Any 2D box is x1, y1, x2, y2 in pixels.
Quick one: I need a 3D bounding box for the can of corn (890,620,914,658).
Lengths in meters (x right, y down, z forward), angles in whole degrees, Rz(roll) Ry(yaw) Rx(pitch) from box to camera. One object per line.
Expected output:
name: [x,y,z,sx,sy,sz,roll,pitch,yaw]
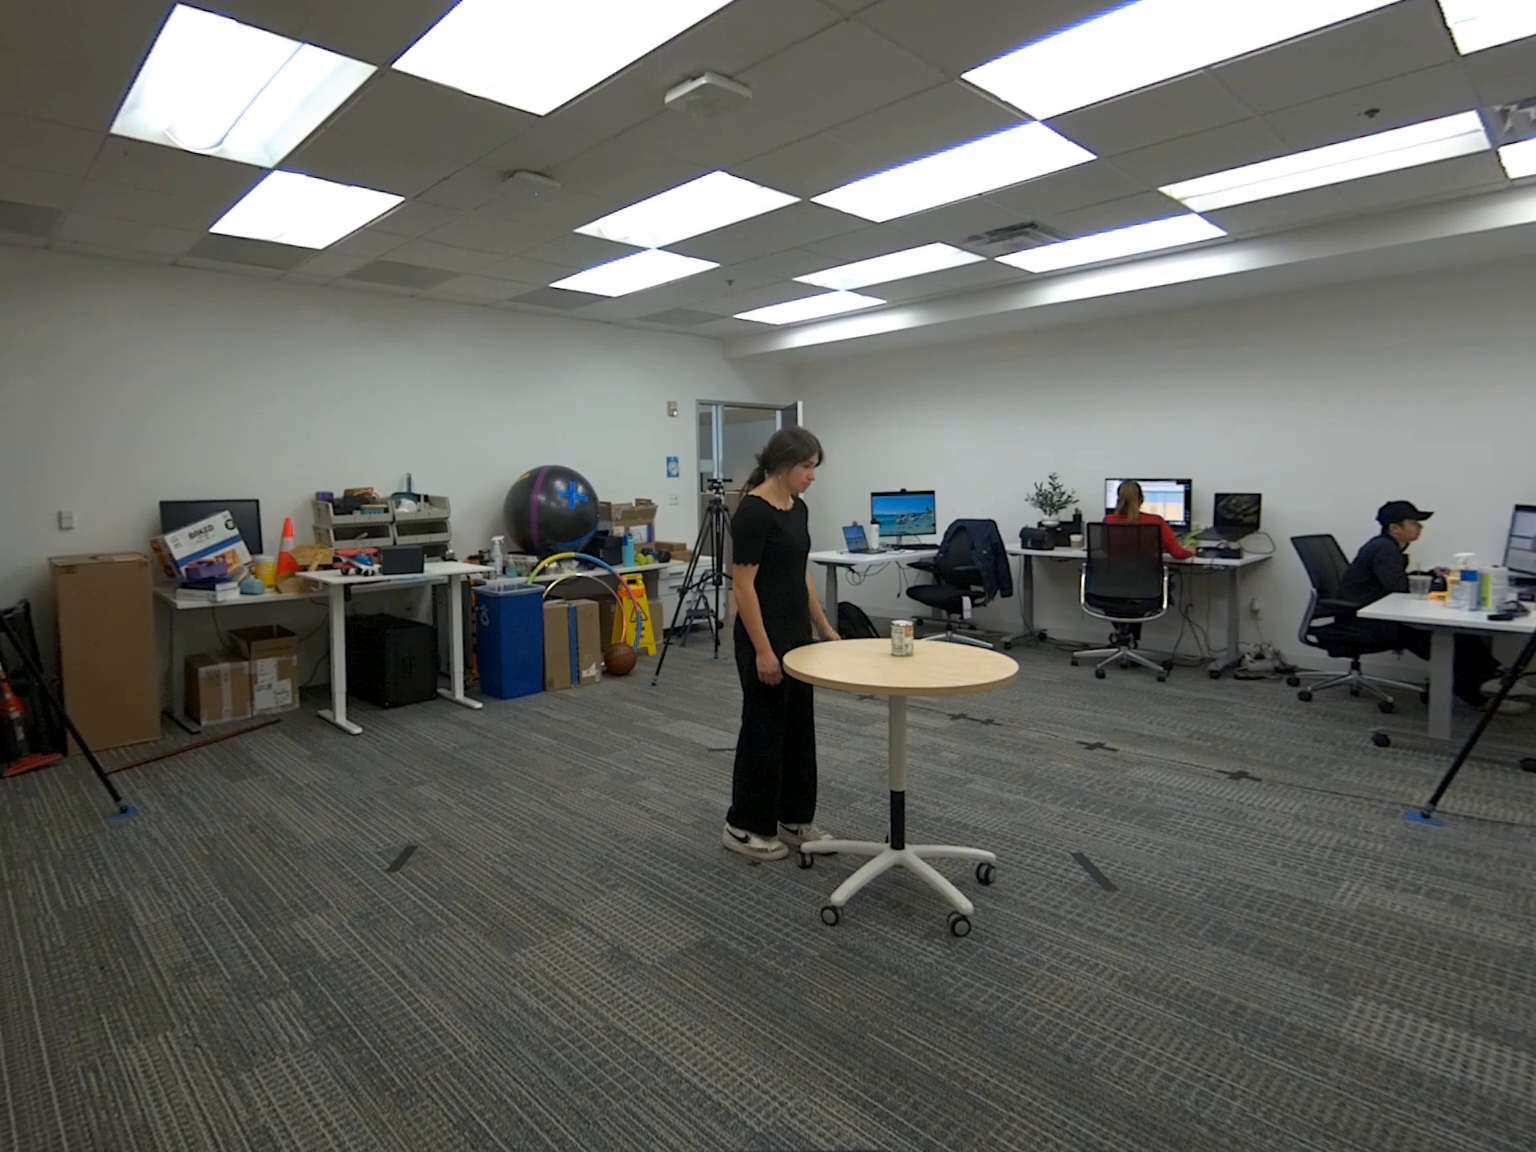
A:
can of corn: [0.473,0.217,2.937,0.074,0.110,0.075,0,7,-2]
